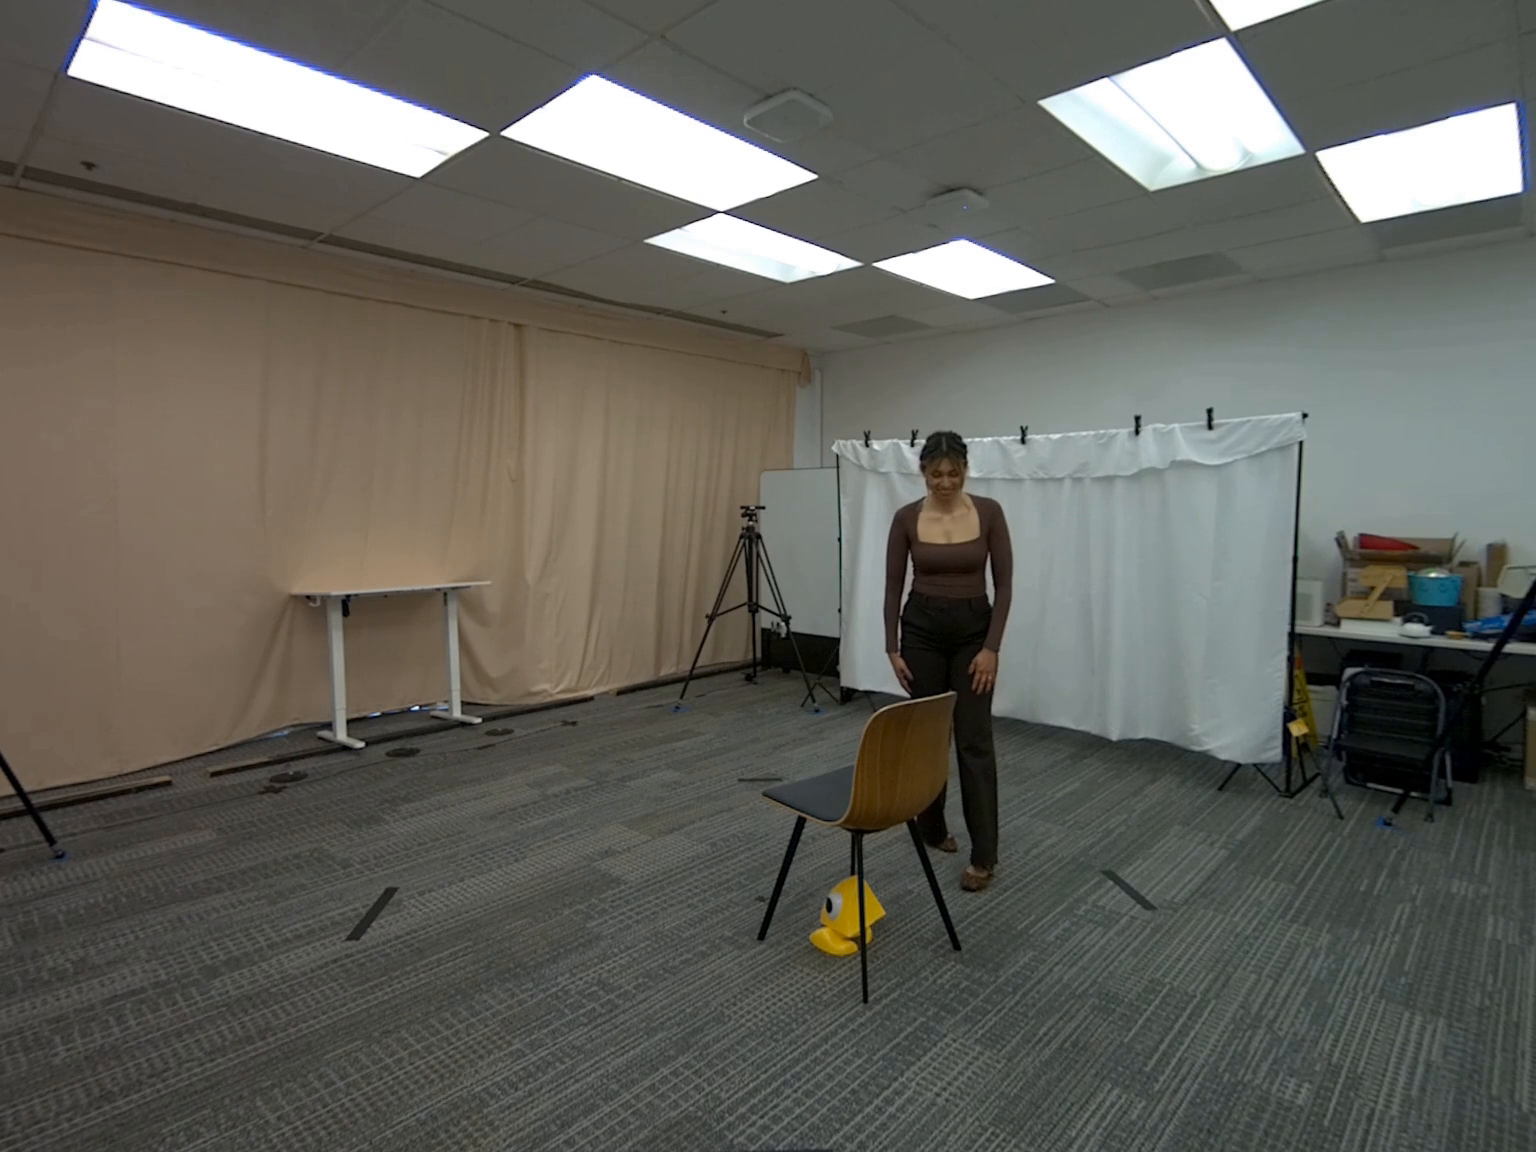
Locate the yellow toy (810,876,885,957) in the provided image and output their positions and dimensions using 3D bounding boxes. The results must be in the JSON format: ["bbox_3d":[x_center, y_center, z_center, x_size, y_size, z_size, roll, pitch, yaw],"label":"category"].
[{"bbox_3d":[0.250,1.059,2.690,0.199,0.230,0.198,4,6,43],"label":"yellow toy"}]
